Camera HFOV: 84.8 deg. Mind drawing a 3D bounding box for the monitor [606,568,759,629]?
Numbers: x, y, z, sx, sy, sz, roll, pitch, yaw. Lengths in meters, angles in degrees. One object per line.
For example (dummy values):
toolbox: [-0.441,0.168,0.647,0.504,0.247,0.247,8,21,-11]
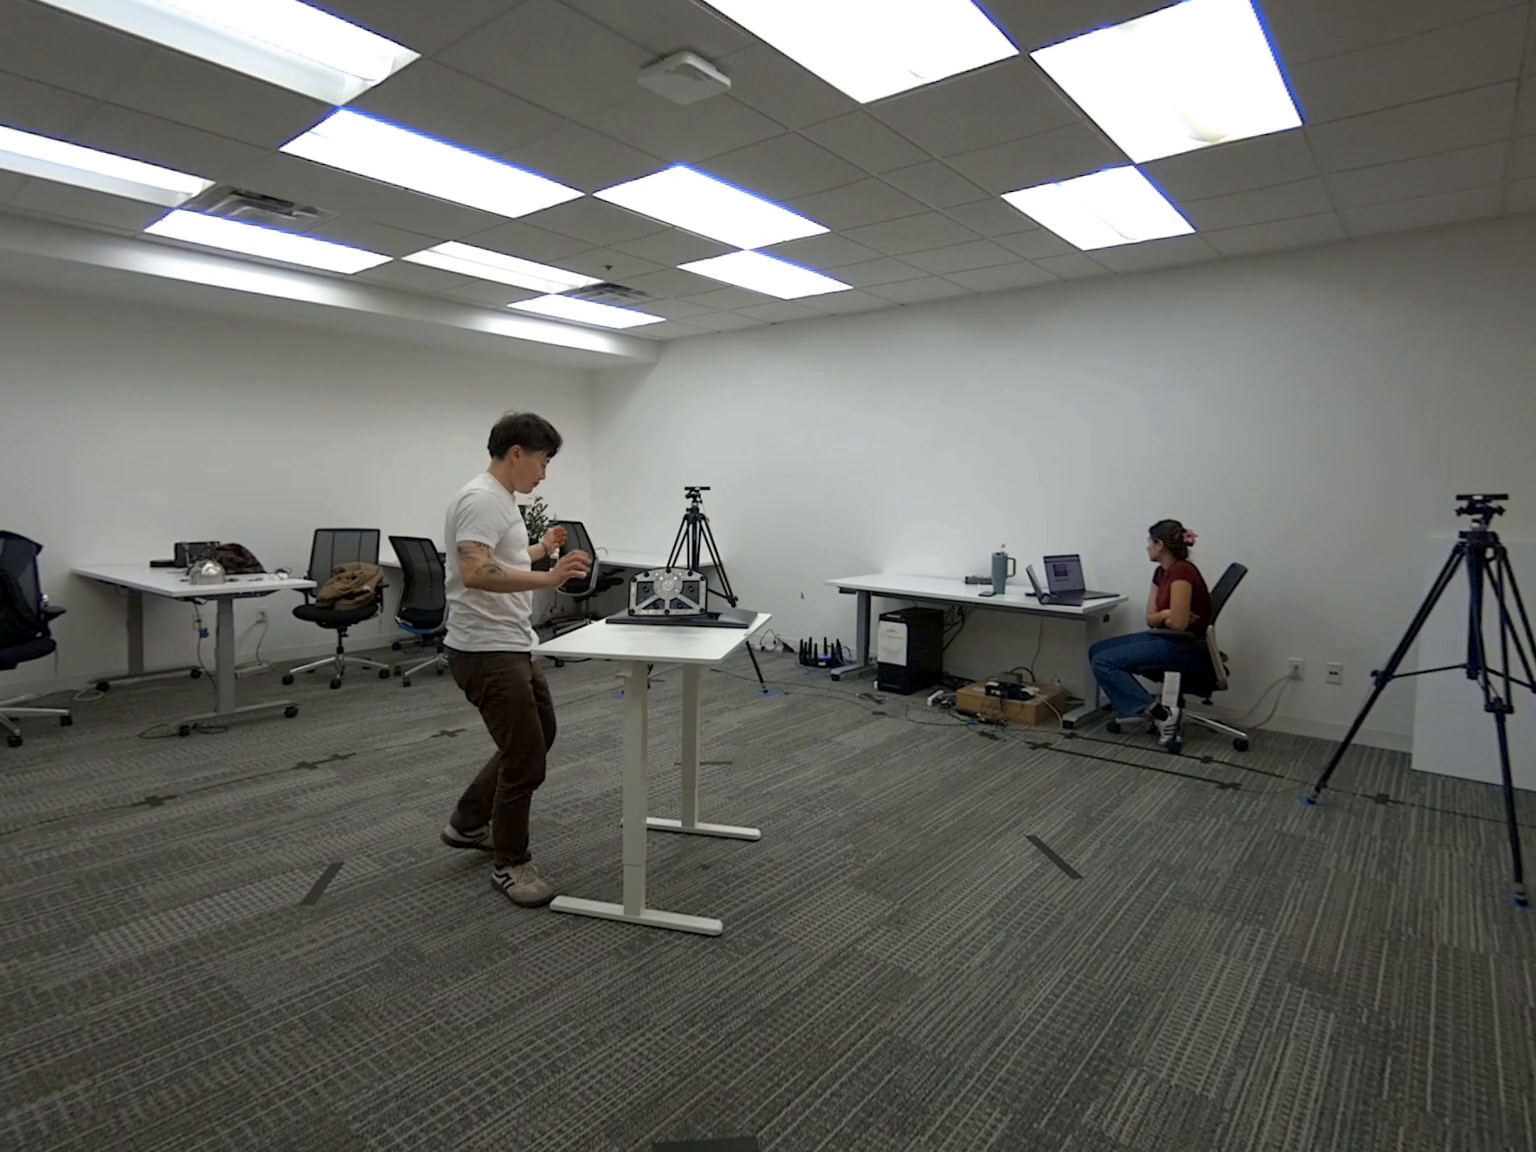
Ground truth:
monitor: [-0.343,0.113,3.205,0.545,0.189,0.511,3,-13,8]
